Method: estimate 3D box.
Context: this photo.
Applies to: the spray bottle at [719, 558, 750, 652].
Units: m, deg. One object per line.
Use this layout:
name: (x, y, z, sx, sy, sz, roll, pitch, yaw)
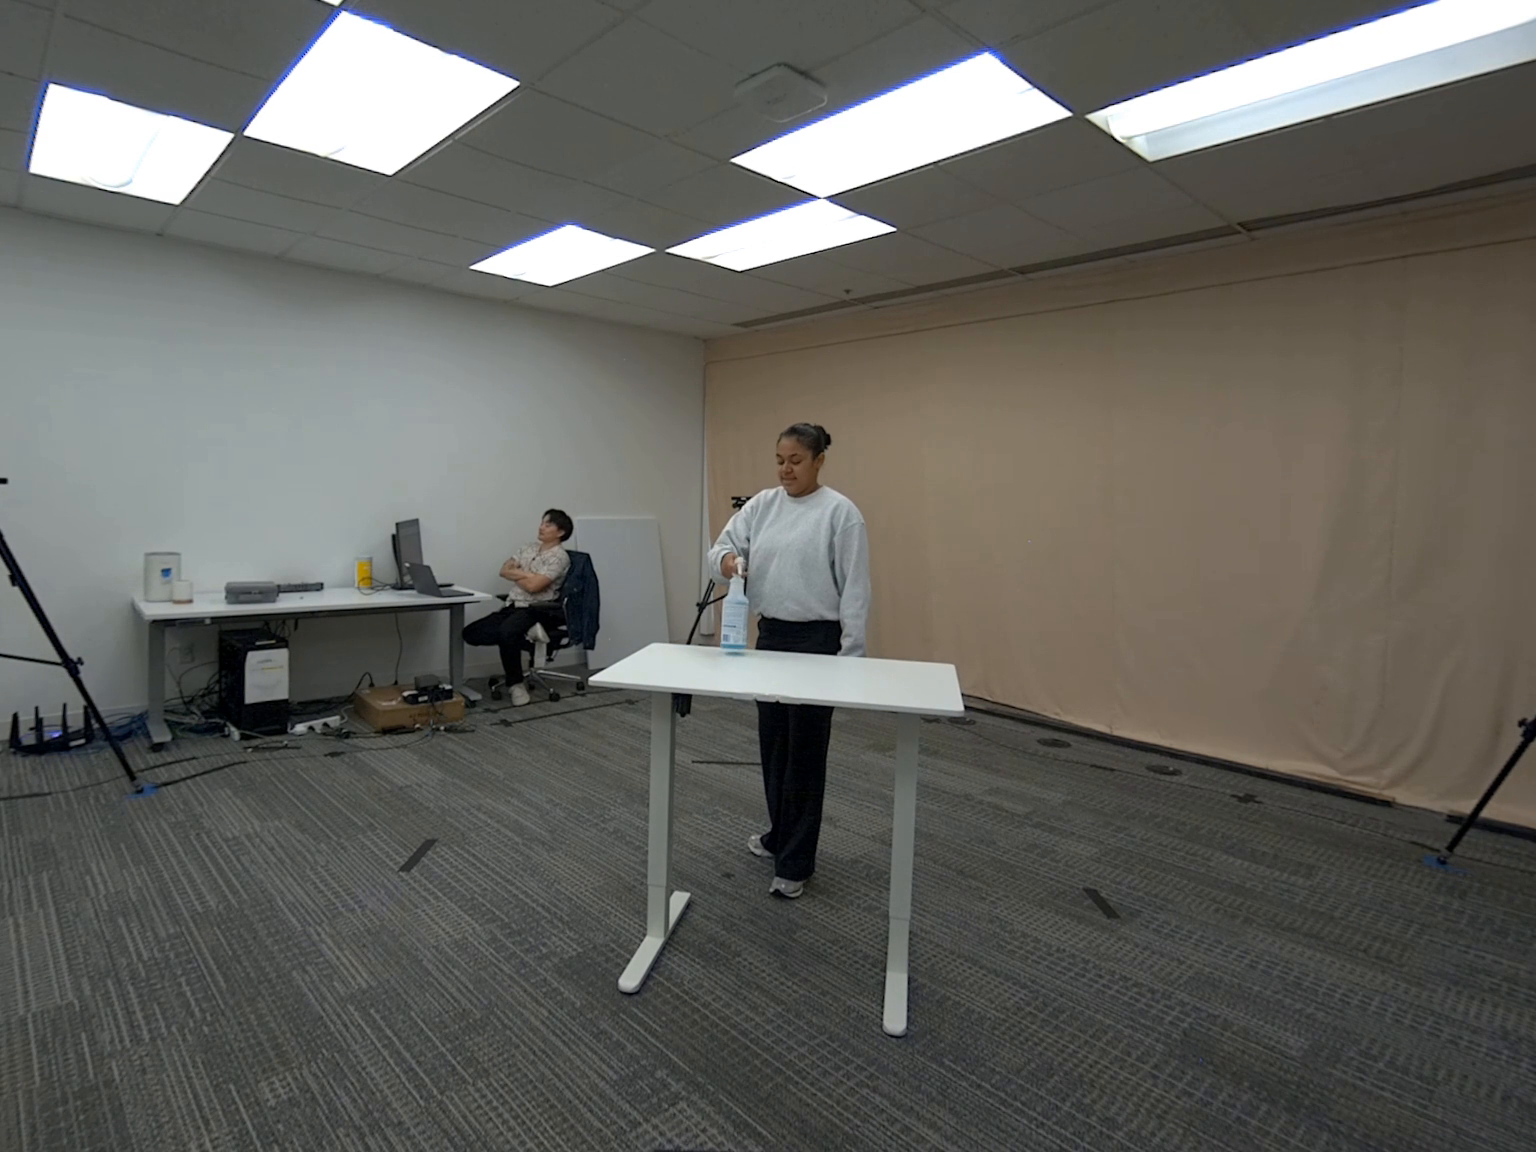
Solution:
spray bottle: (-0.112, 0.090, 2.760, 0.088, 0.298, 0.089, 2, -3, 13)
